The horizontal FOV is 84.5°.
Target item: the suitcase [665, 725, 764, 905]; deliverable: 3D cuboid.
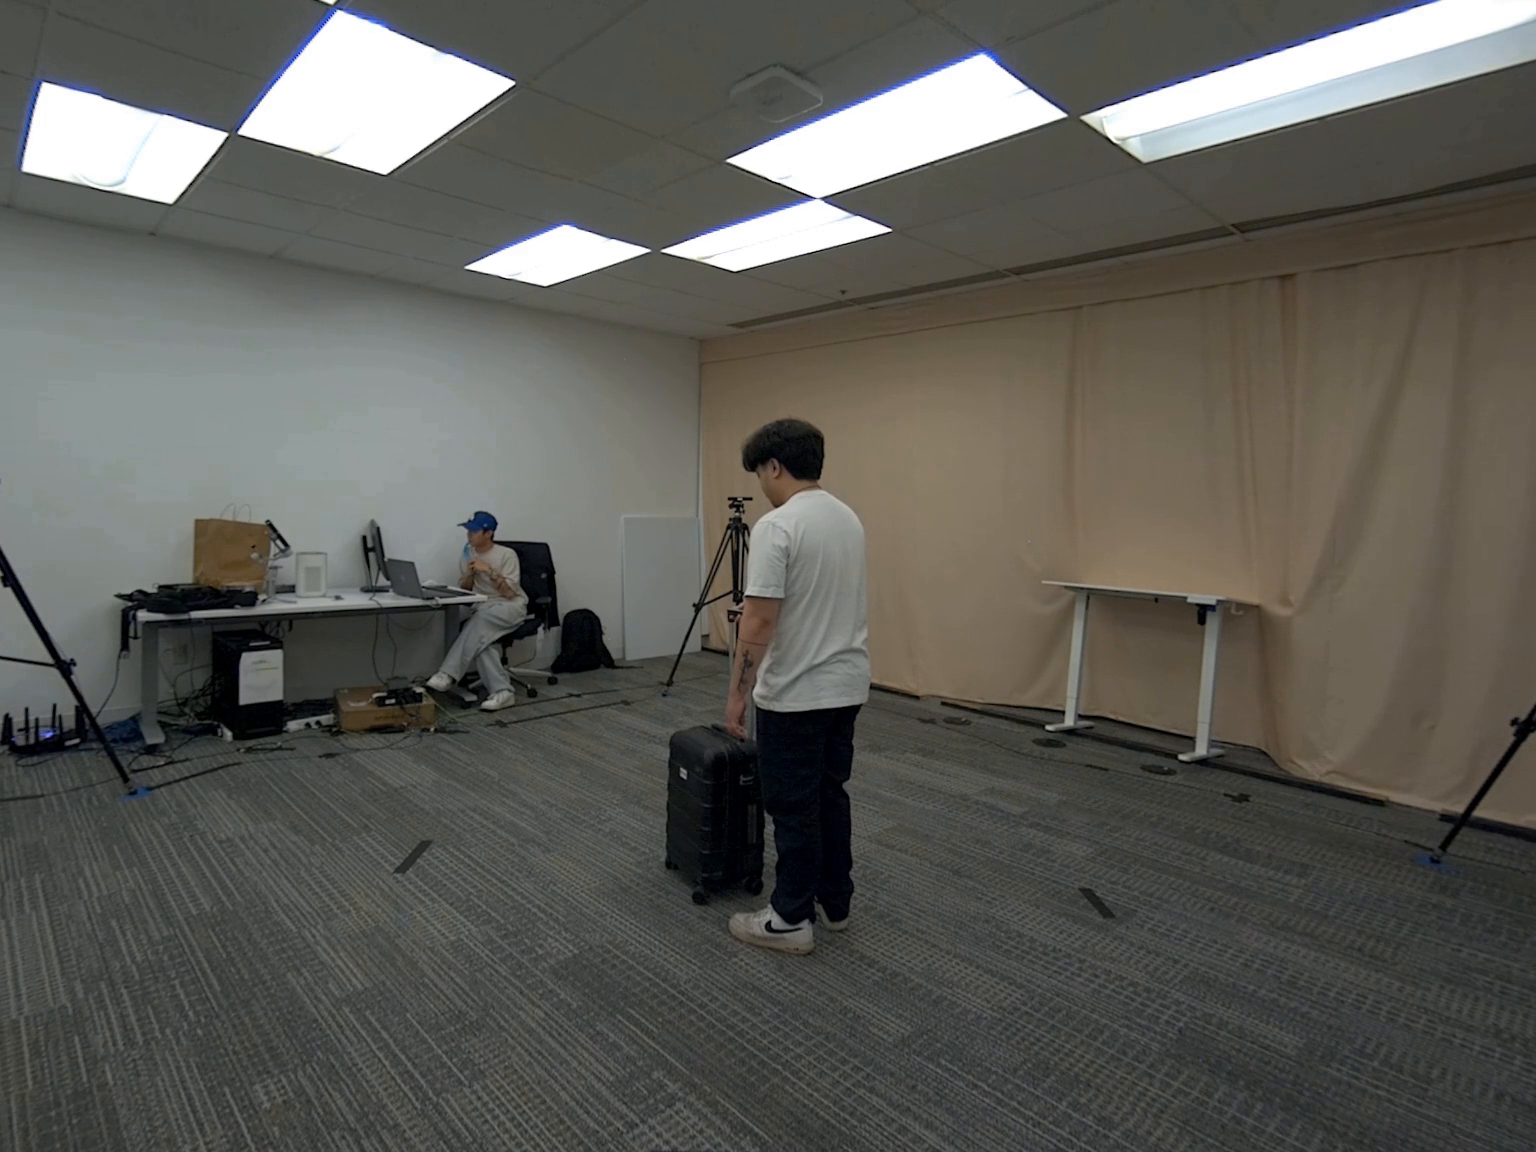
[{"bbox_3d":[-0.197,0.643,3.044,0.252,0.977,0.392,-1,3,-28],"label":"suitcase"}]
